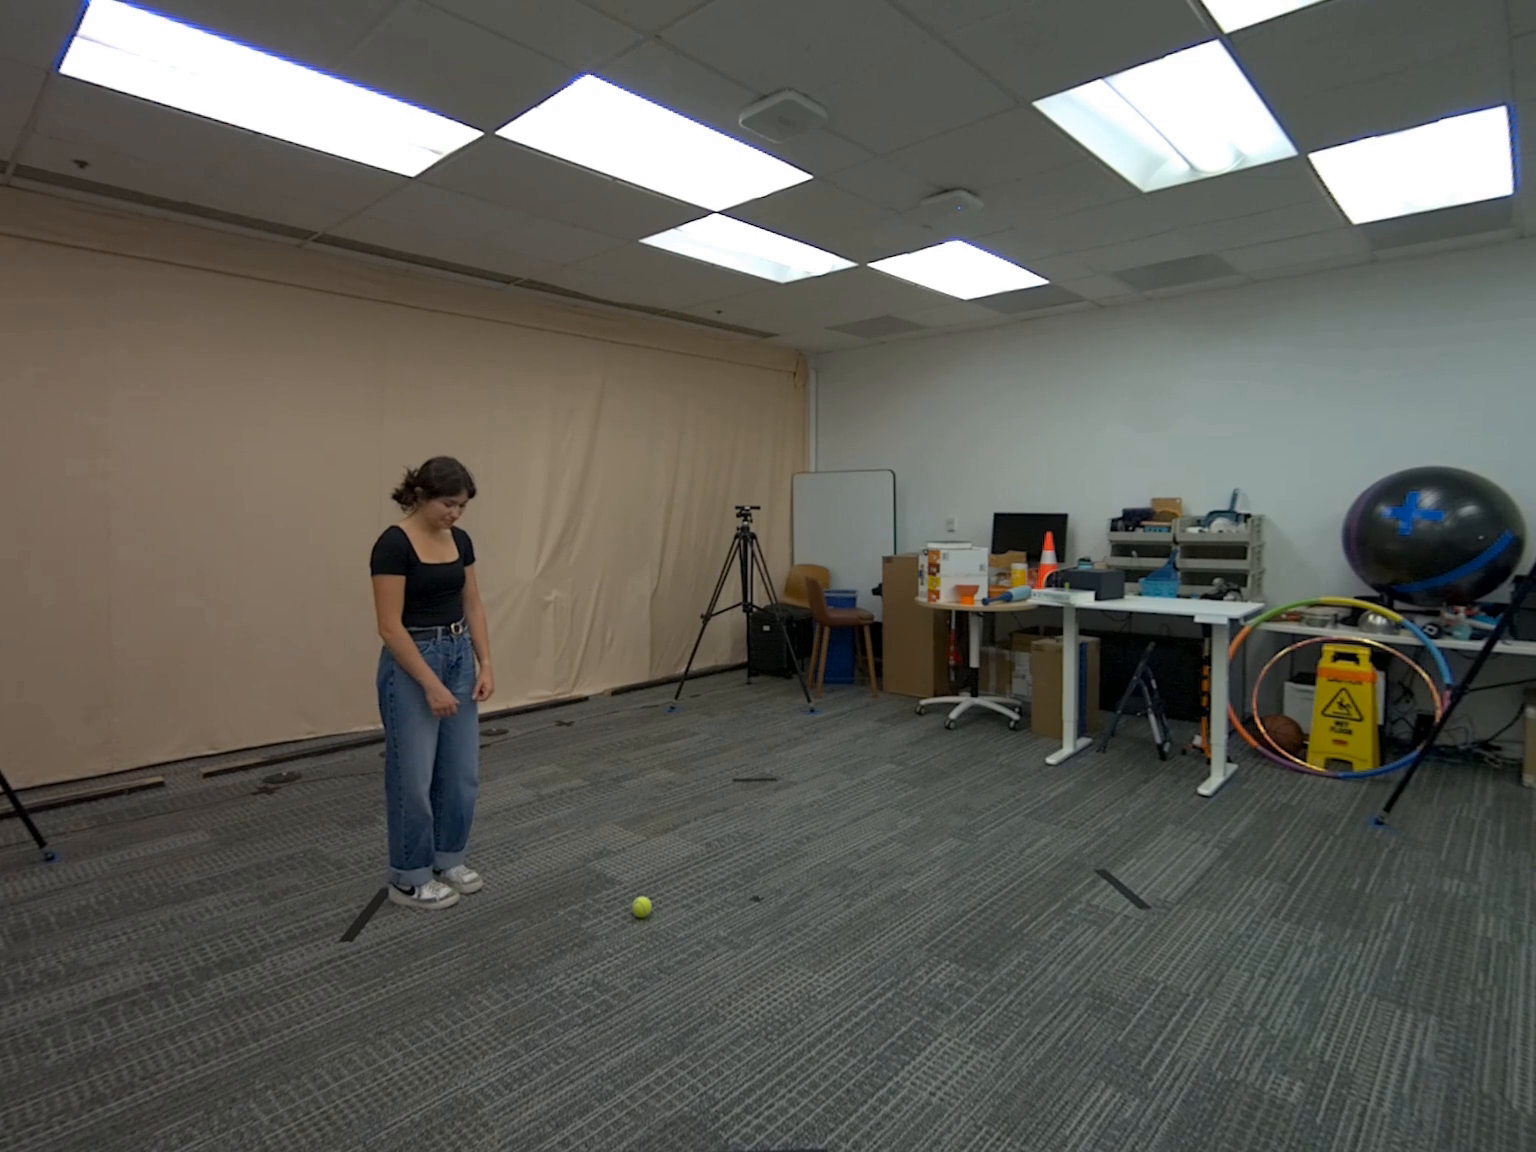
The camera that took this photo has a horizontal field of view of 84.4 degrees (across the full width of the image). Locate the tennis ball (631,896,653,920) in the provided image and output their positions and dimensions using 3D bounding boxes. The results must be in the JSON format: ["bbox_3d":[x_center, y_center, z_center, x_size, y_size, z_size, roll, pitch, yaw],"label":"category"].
[{"bbox_3d":[-0.432,1.112,2.843,0.066,0.066,0.067,0,4,-2],"label":"tennis ball"}]
